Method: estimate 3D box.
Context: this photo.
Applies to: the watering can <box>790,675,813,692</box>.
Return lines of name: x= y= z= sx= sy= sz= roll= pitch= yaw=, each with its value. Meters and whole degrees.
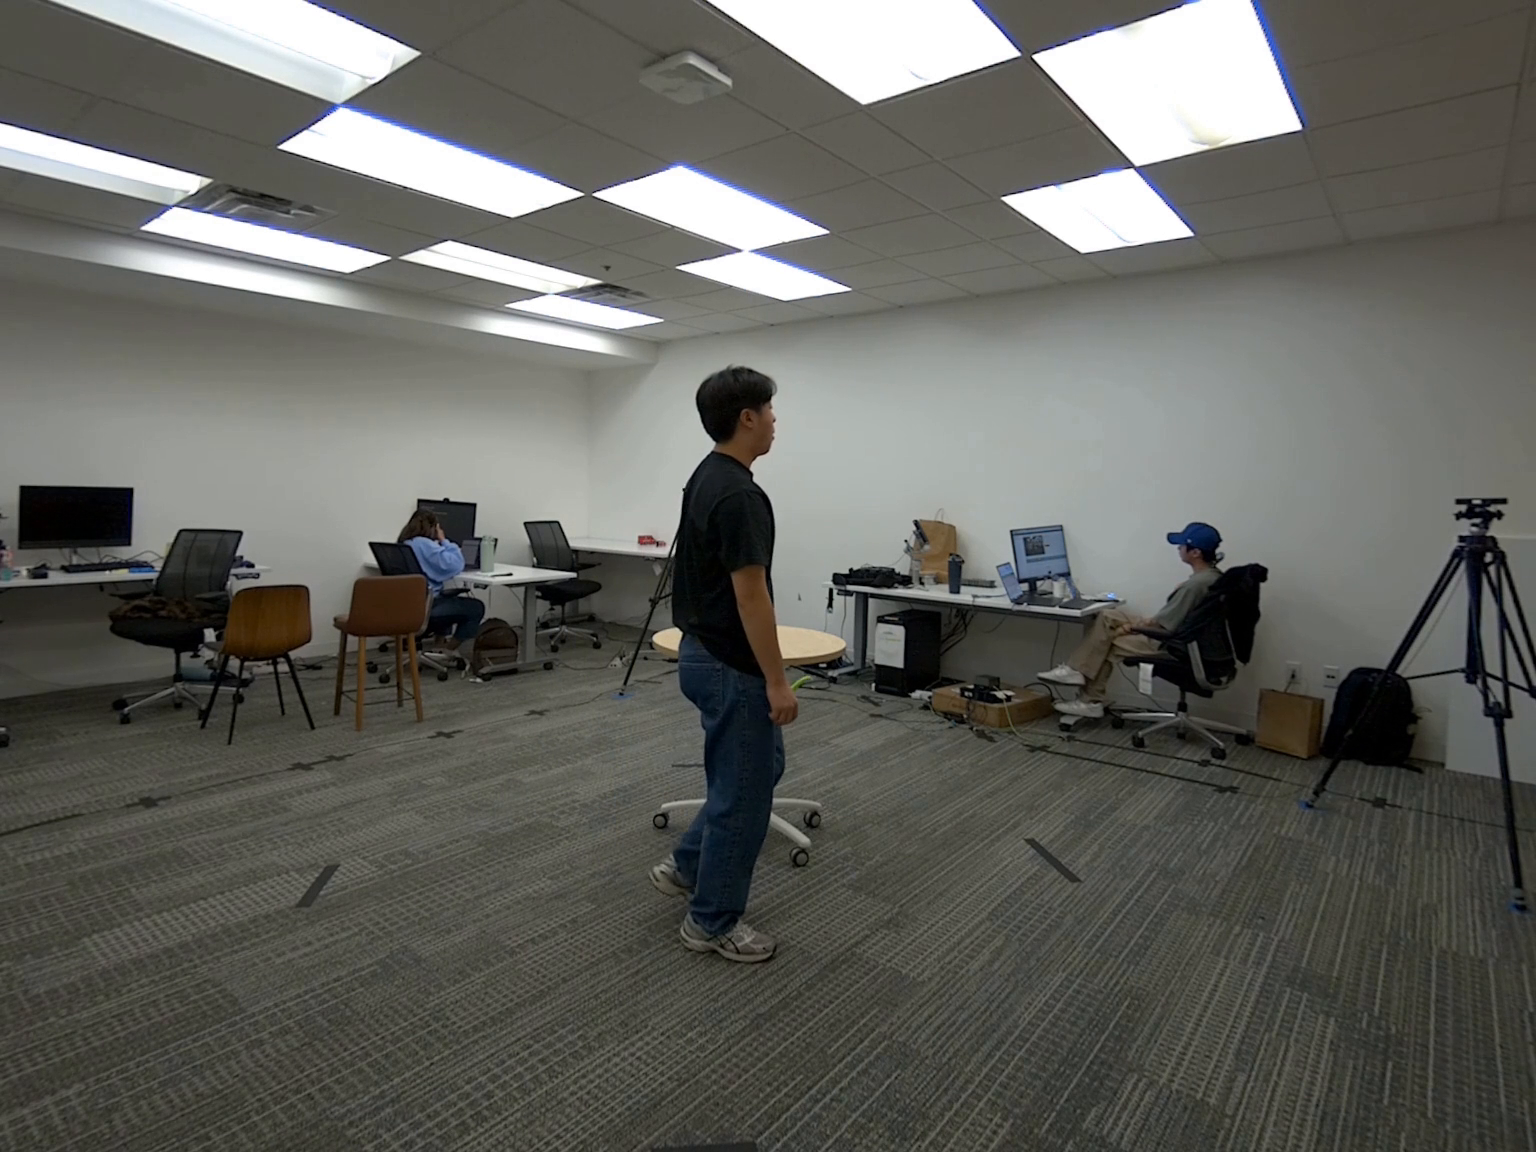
watering can: x=0.004 y=0.400 z=2.855 sx=0.276 sy=0.176 sz=0.099 roll=11 pitch=3 yaw=-5
